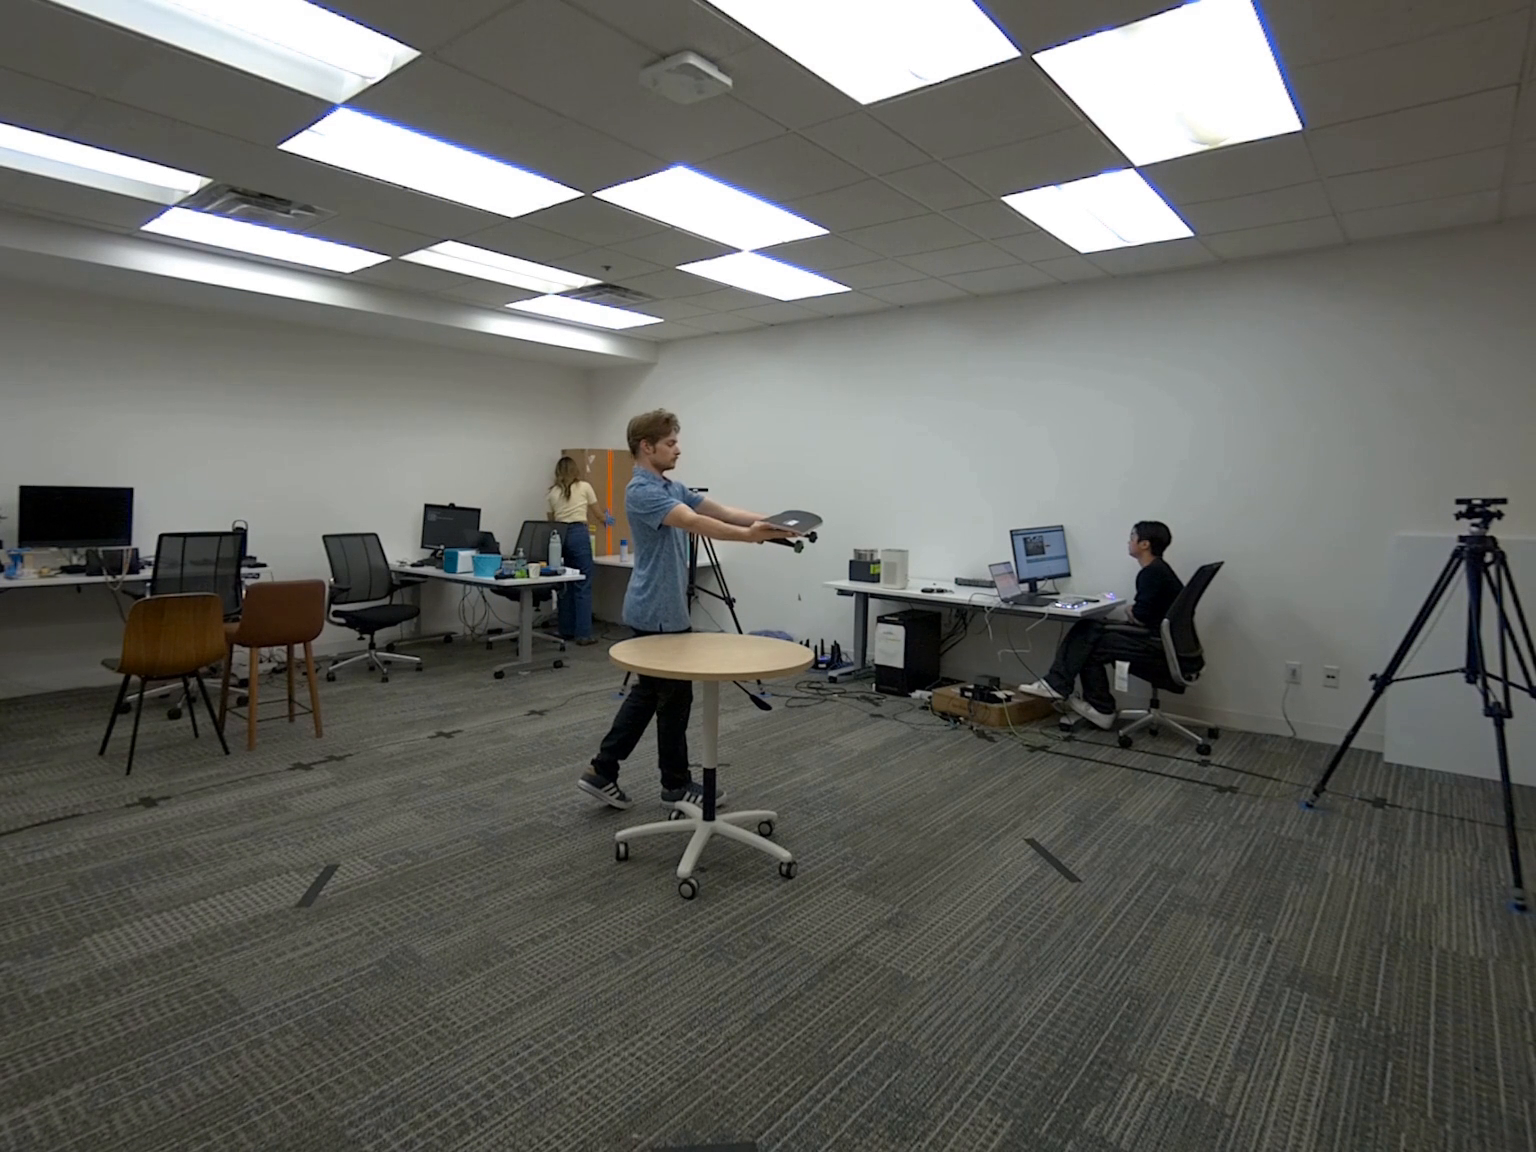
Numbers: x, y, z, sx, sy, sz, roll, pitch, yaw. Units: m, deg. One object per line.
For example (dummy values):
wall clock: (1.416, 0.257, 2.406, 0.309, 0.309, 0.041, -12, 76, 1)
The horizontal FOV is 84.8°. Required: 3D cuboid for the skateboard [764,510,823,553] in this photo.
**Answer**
skateboard: (0.079, -0.188, 3.496, 0.196, 0.109, 0.779, 14, 10, 10)
